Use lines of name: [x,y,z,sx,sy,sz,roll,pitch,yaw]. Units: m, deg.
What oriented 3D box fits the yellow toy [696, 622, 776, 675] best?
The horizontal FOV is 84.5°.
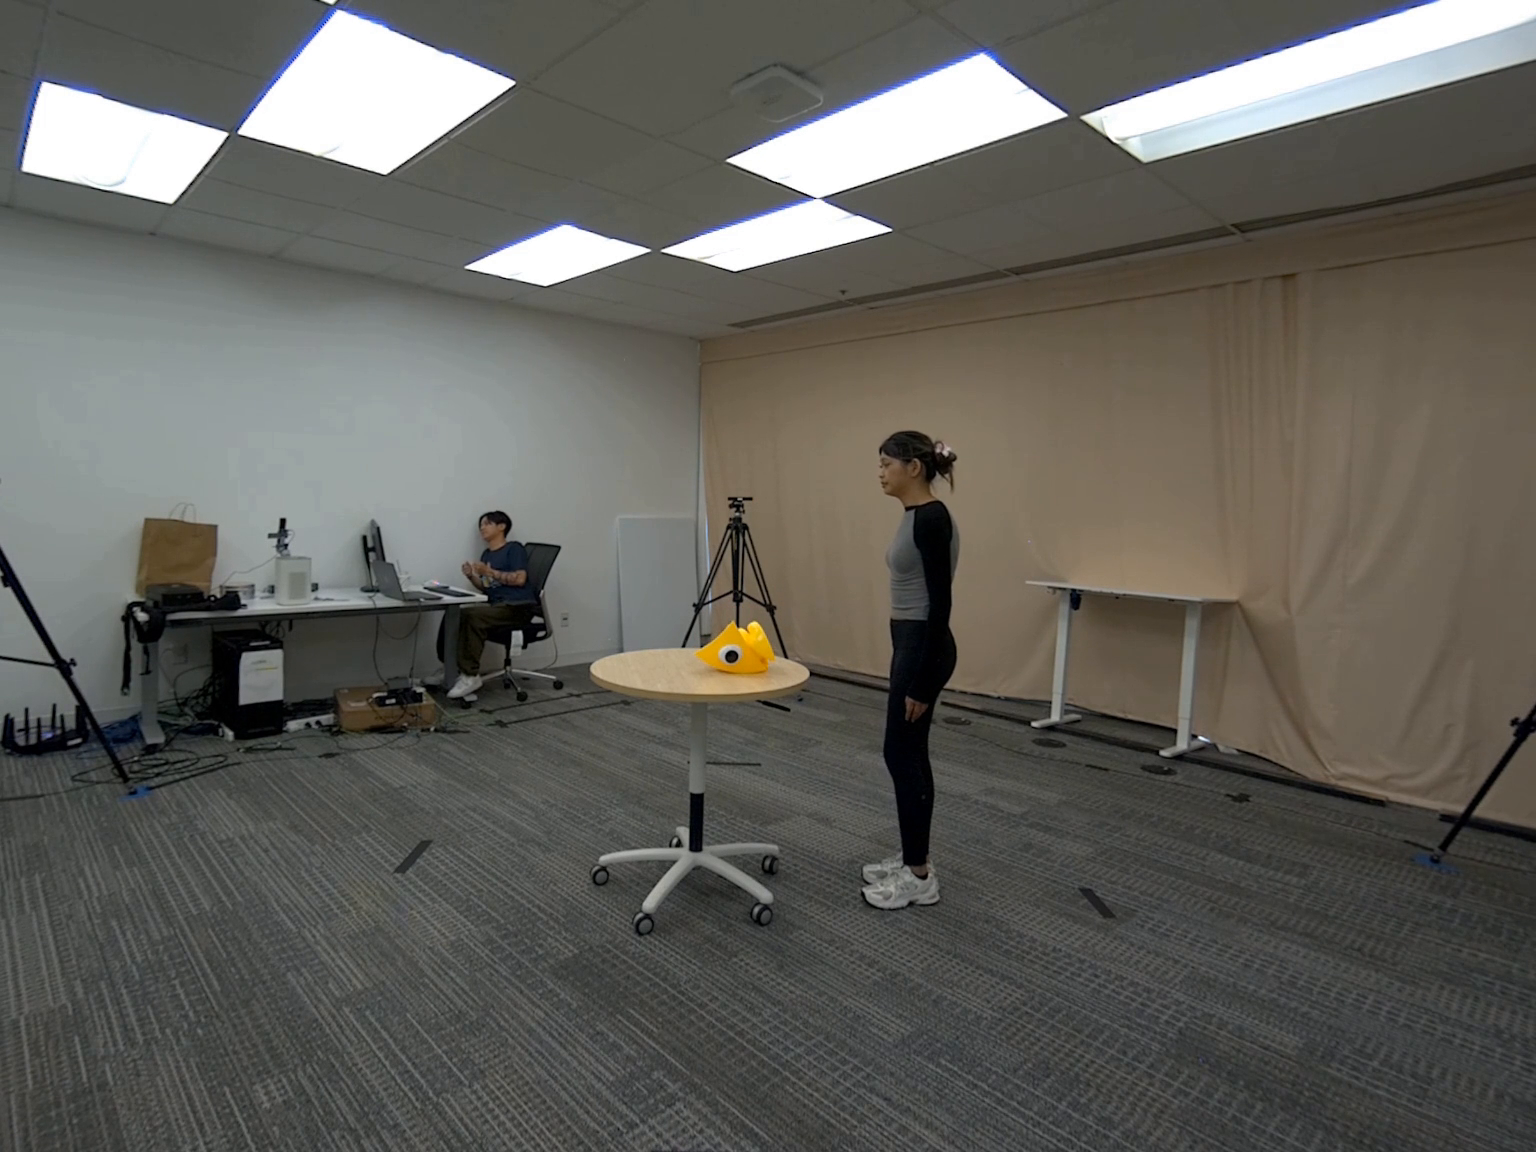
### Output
yellow toy: [-0.131,0.275,2.919,0.229,0.196,0.203,-24,-13,-17]
